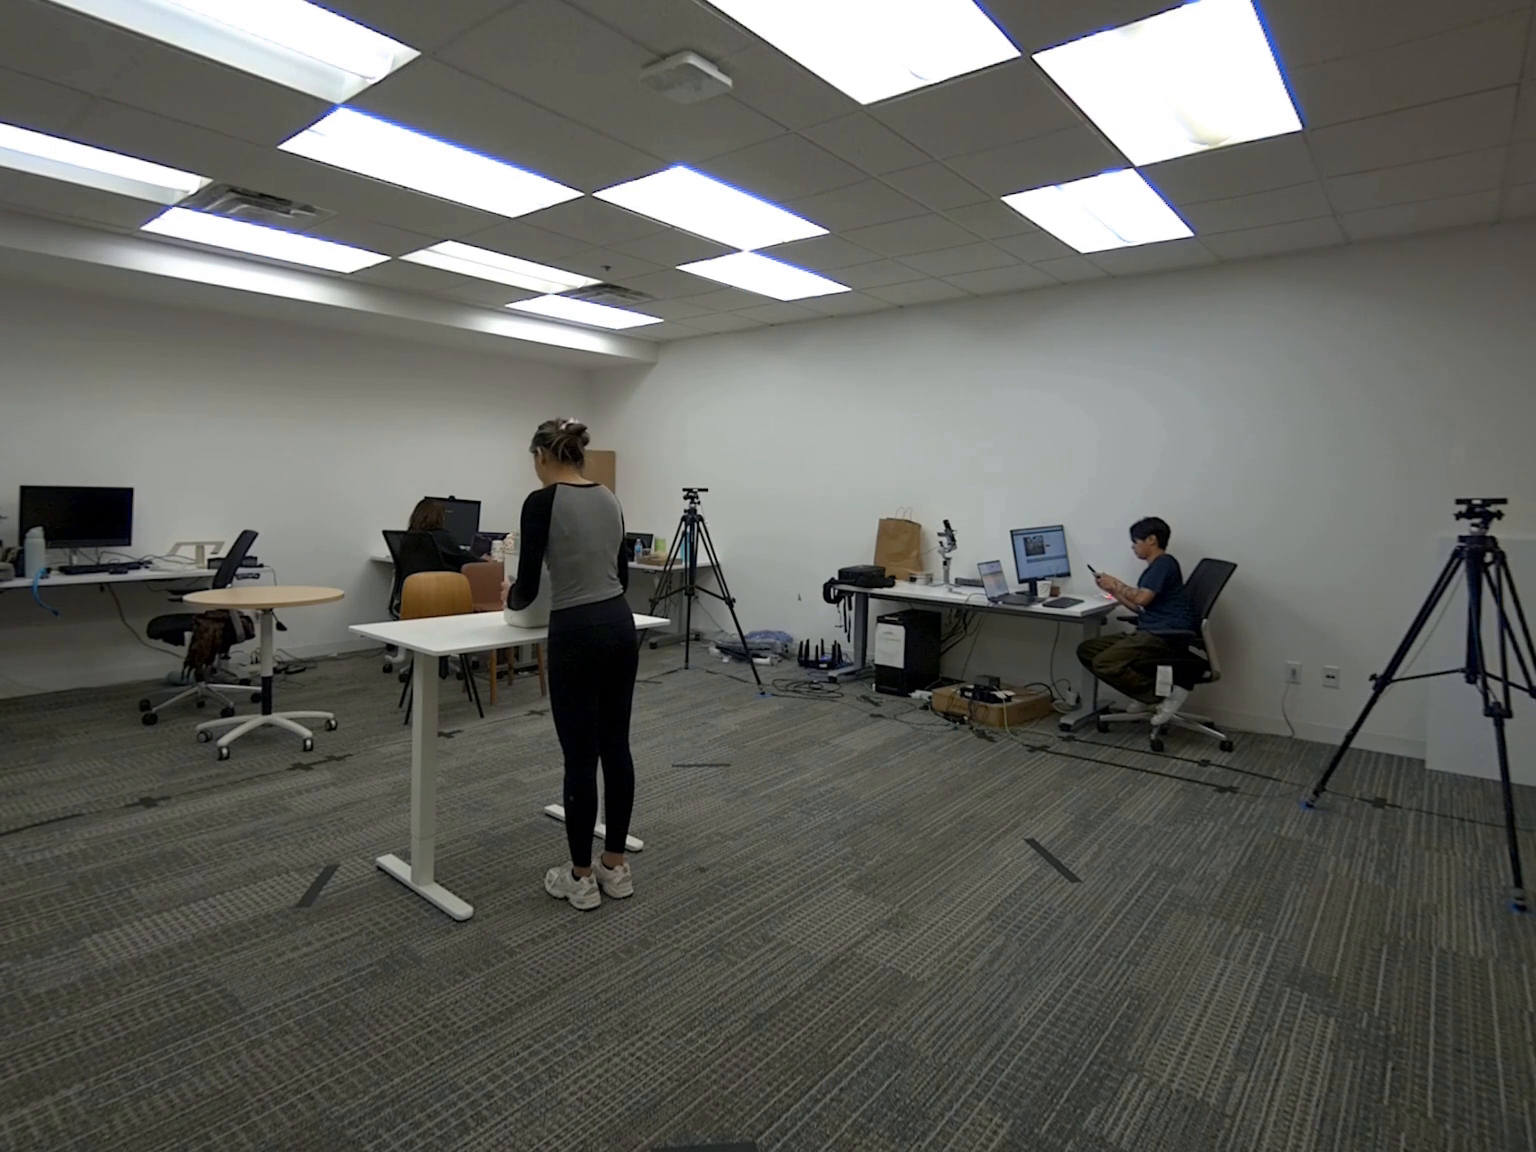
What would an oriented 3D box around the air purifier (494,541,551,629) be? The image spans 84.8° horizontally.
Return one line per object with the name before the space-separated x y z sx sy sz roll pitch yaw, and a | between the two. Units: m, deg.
air purifier | -0.868 0.044 3.107 0.177 0.265 0.166 6 4 41
